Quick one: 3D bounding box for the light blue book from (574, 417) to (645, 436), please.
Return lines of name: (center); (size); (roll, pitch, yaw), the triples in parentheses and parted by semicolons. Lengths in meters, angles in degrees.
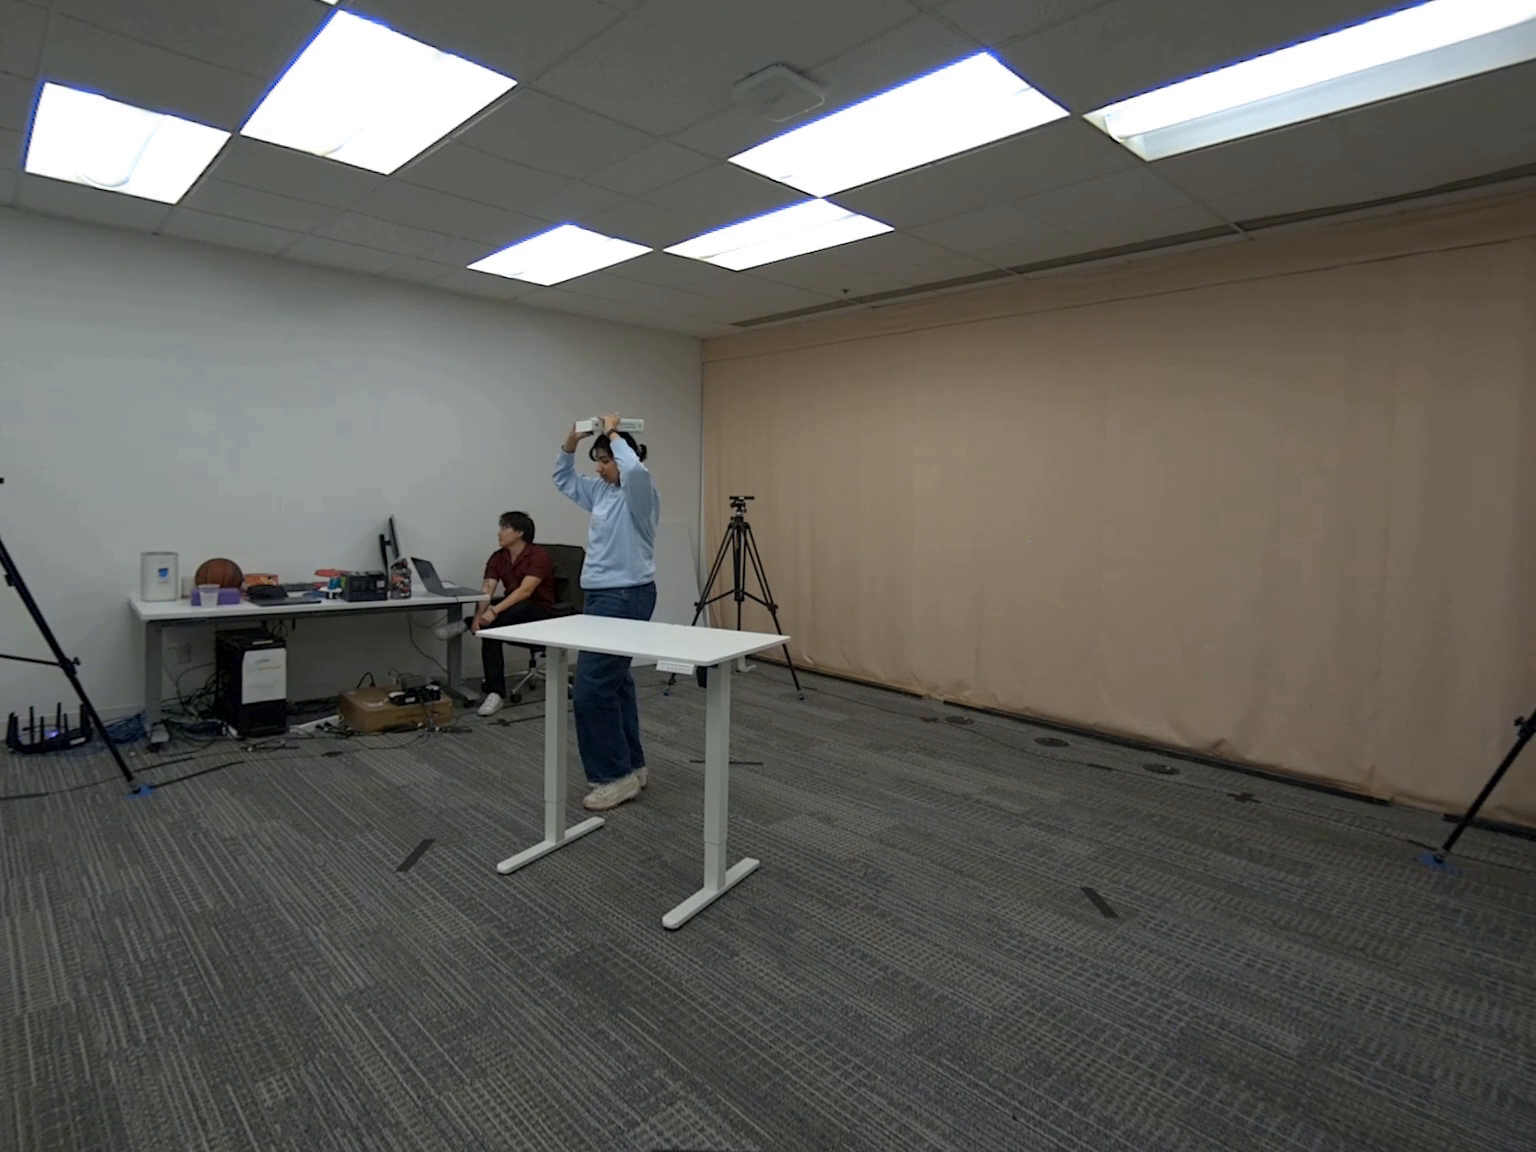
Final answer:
light blue book: (-0.744, -0.697, 3.883); (0.256, 0.059, 0.196); (-6, 8, -35)
